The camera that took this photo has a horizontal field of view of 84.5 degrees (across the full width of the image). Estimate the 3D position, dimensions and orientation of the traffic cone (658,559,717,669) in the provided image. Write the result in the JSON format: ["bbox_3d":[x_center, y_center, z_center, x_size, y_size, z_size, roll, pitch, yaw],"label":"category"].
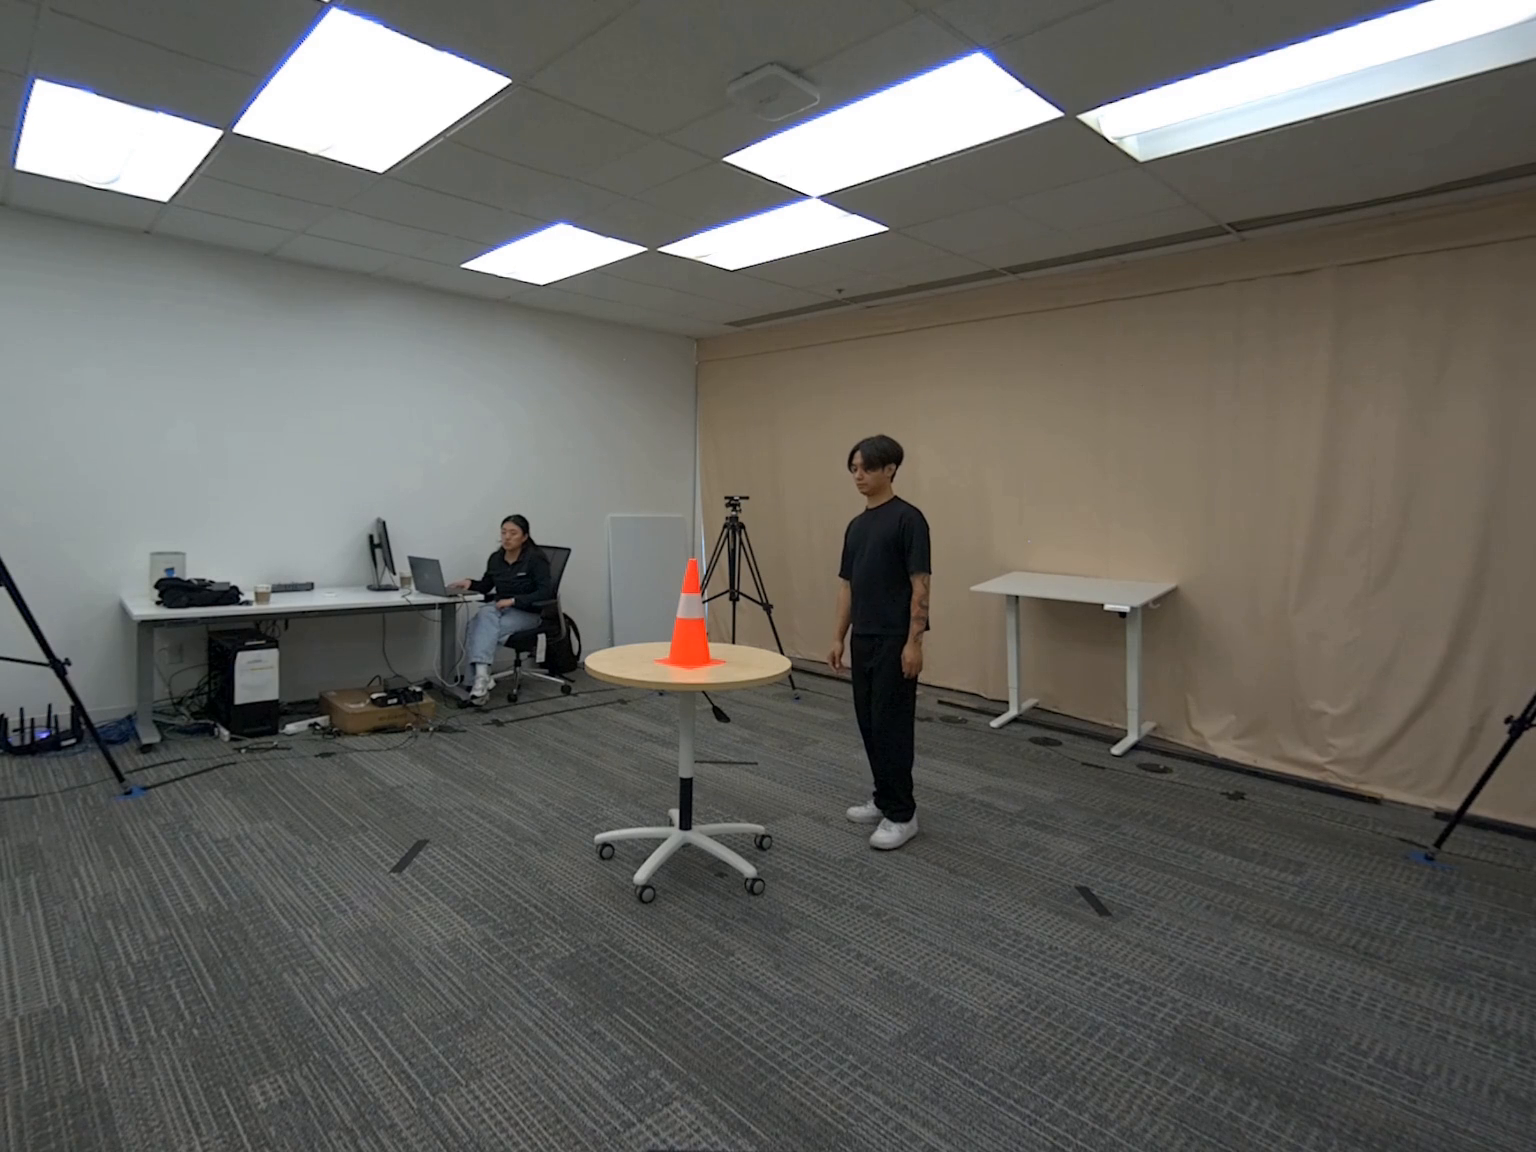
[{"bbox_3d":[-0.284,0.134,3.096,0.208,0.383,0.200,5,4,36],"label":"traffic cone"}]
